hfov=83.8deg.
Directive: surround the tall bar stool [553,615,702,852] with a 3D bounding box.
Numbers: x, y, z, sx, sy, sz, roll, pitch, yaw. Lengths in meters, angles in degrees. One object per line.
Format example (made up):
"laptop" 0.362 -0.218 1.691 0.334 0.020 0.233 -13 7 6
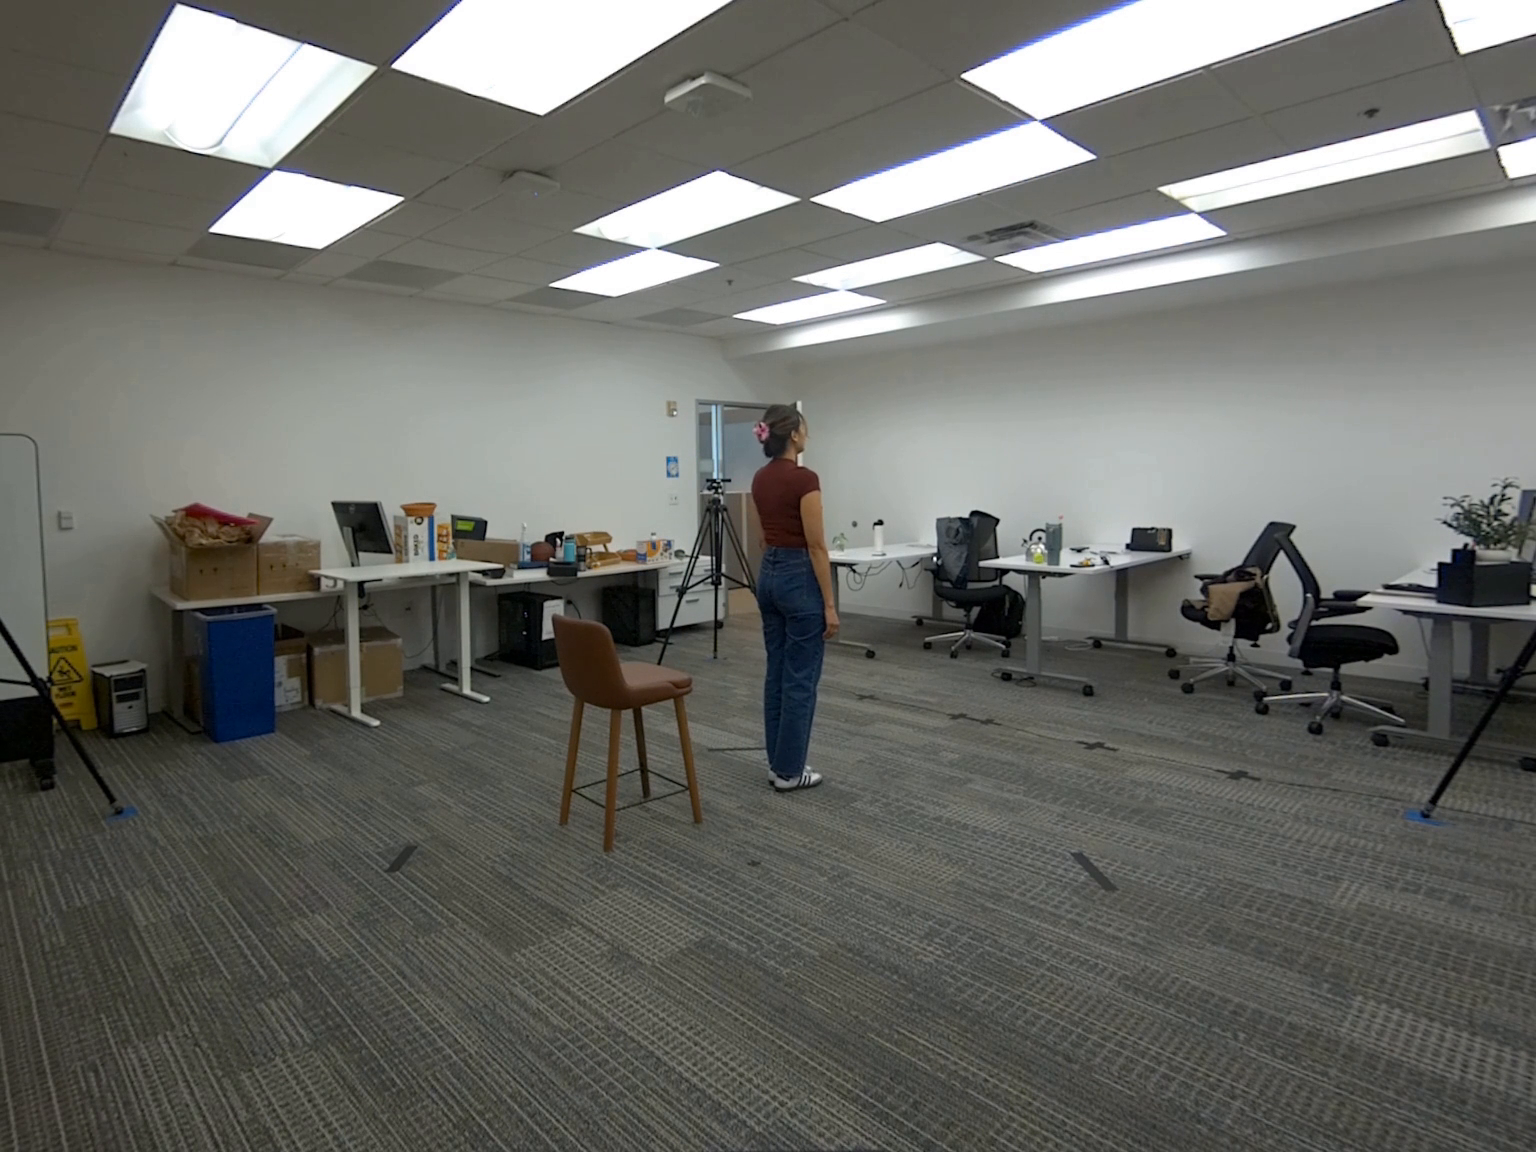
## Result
"tall bar stool" -0.582 0.578 3.476 0.456 0.886 0.470 -6 6 -41
